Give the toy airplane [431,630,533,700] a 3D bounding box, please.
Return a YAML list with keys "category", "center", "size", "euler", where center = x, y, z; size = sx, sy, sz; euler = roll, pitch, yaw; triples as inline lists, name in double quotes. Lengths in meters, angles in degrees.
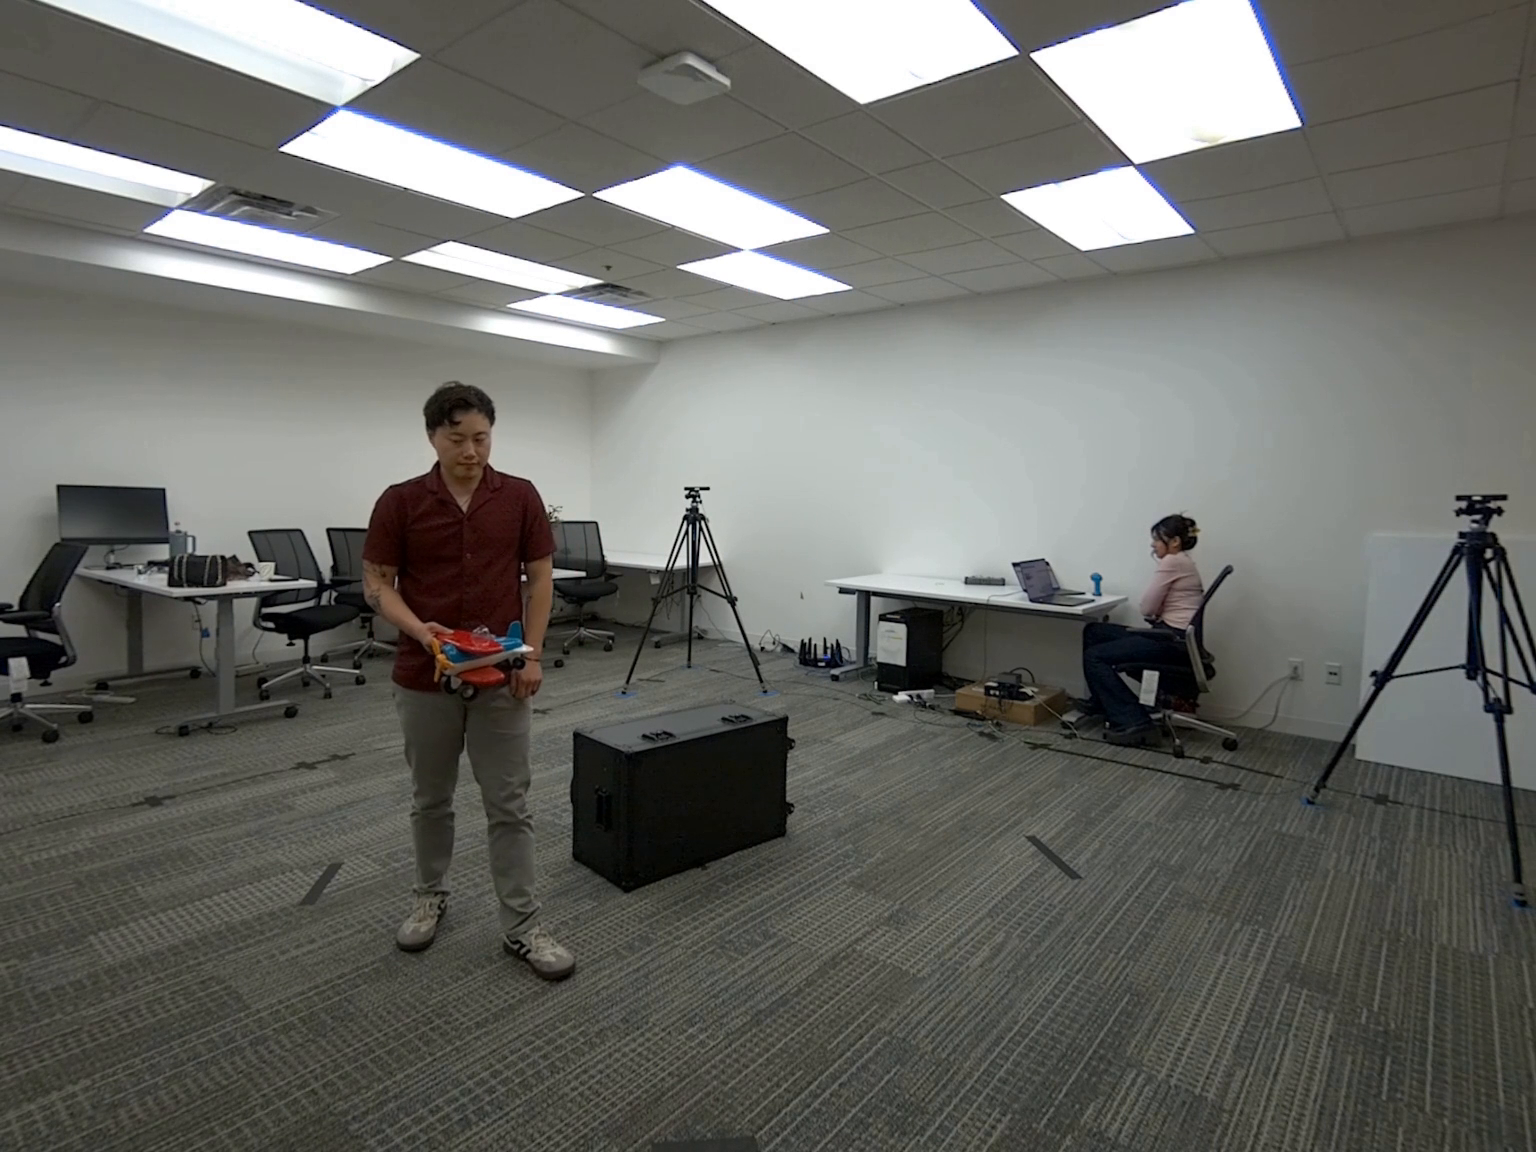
- category: "toy airplane"
  center: [-0.792, 0.211, 2.297]
  size: [0.255, 0.153, 0.260]
  euler: [-3, 21, 16]
